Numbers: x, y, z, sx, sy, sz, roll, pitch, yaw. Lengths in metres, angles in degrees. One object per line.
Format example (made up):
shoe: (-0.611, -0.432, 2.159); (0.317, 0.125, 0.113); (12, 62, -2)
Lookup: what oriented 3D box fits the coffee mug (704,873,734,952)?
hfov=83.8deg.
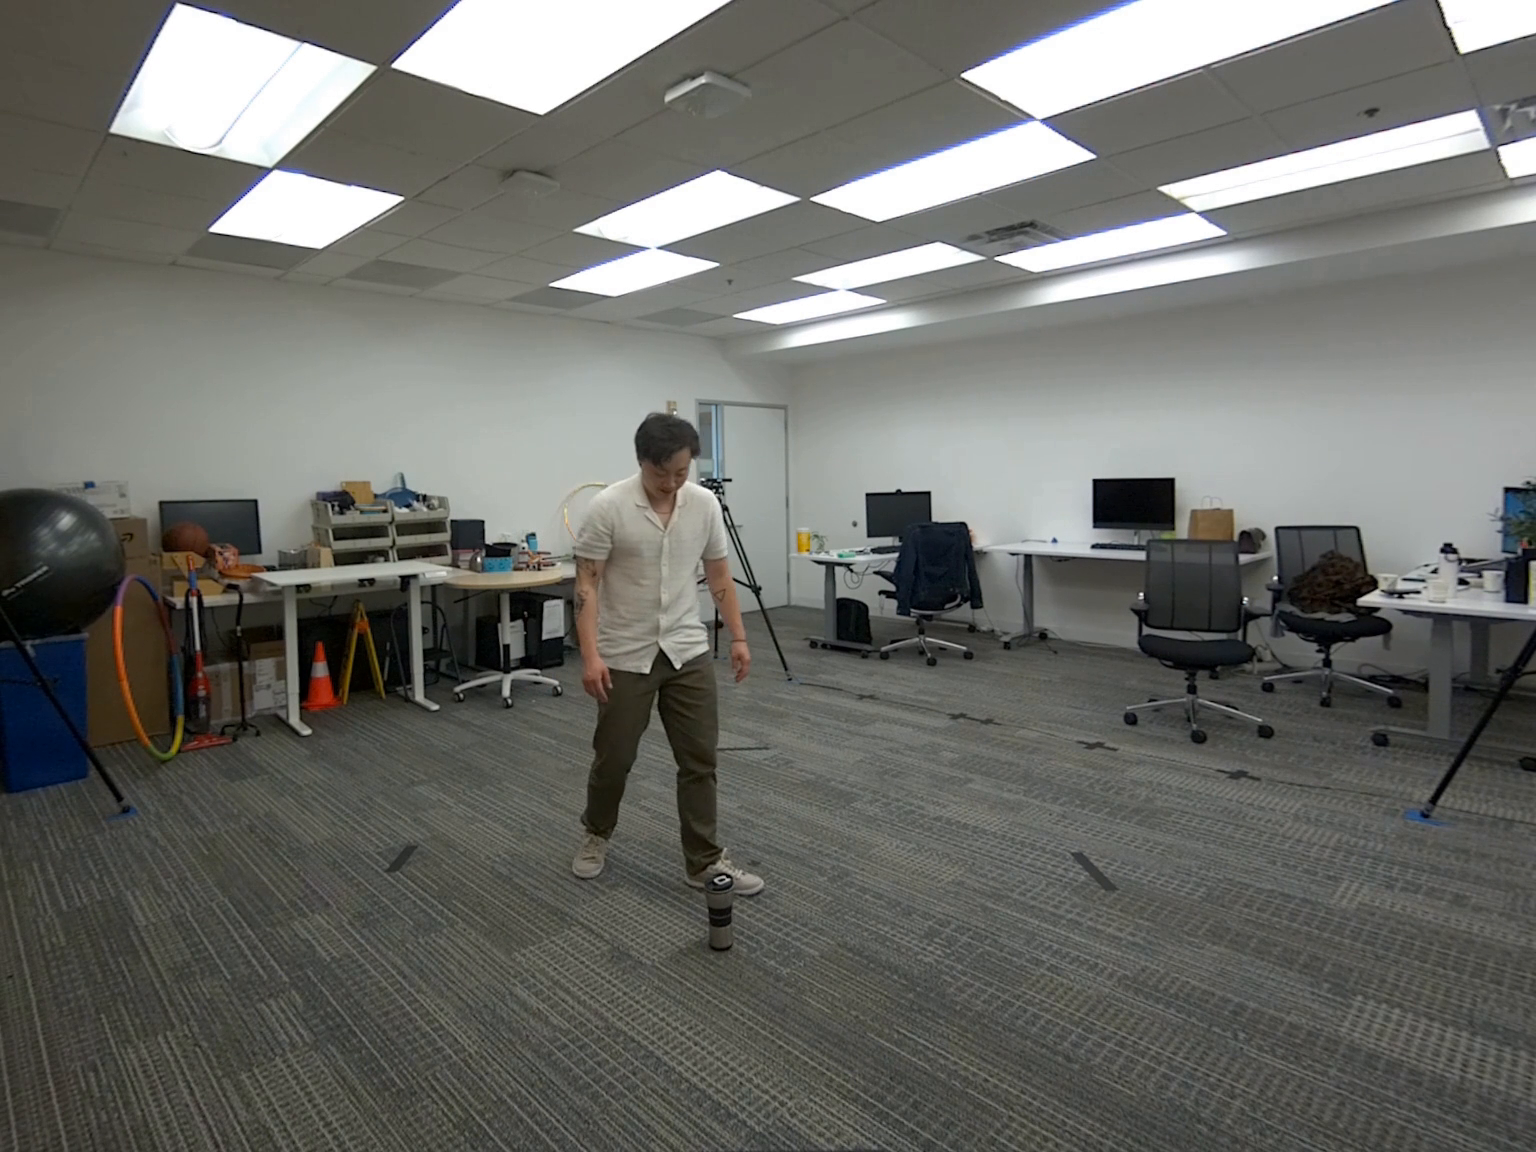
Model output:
coffee mug: (-0.128, 1.014, 2.572); (0.090, 0.202, 0.119); (-2, 6, 39)
